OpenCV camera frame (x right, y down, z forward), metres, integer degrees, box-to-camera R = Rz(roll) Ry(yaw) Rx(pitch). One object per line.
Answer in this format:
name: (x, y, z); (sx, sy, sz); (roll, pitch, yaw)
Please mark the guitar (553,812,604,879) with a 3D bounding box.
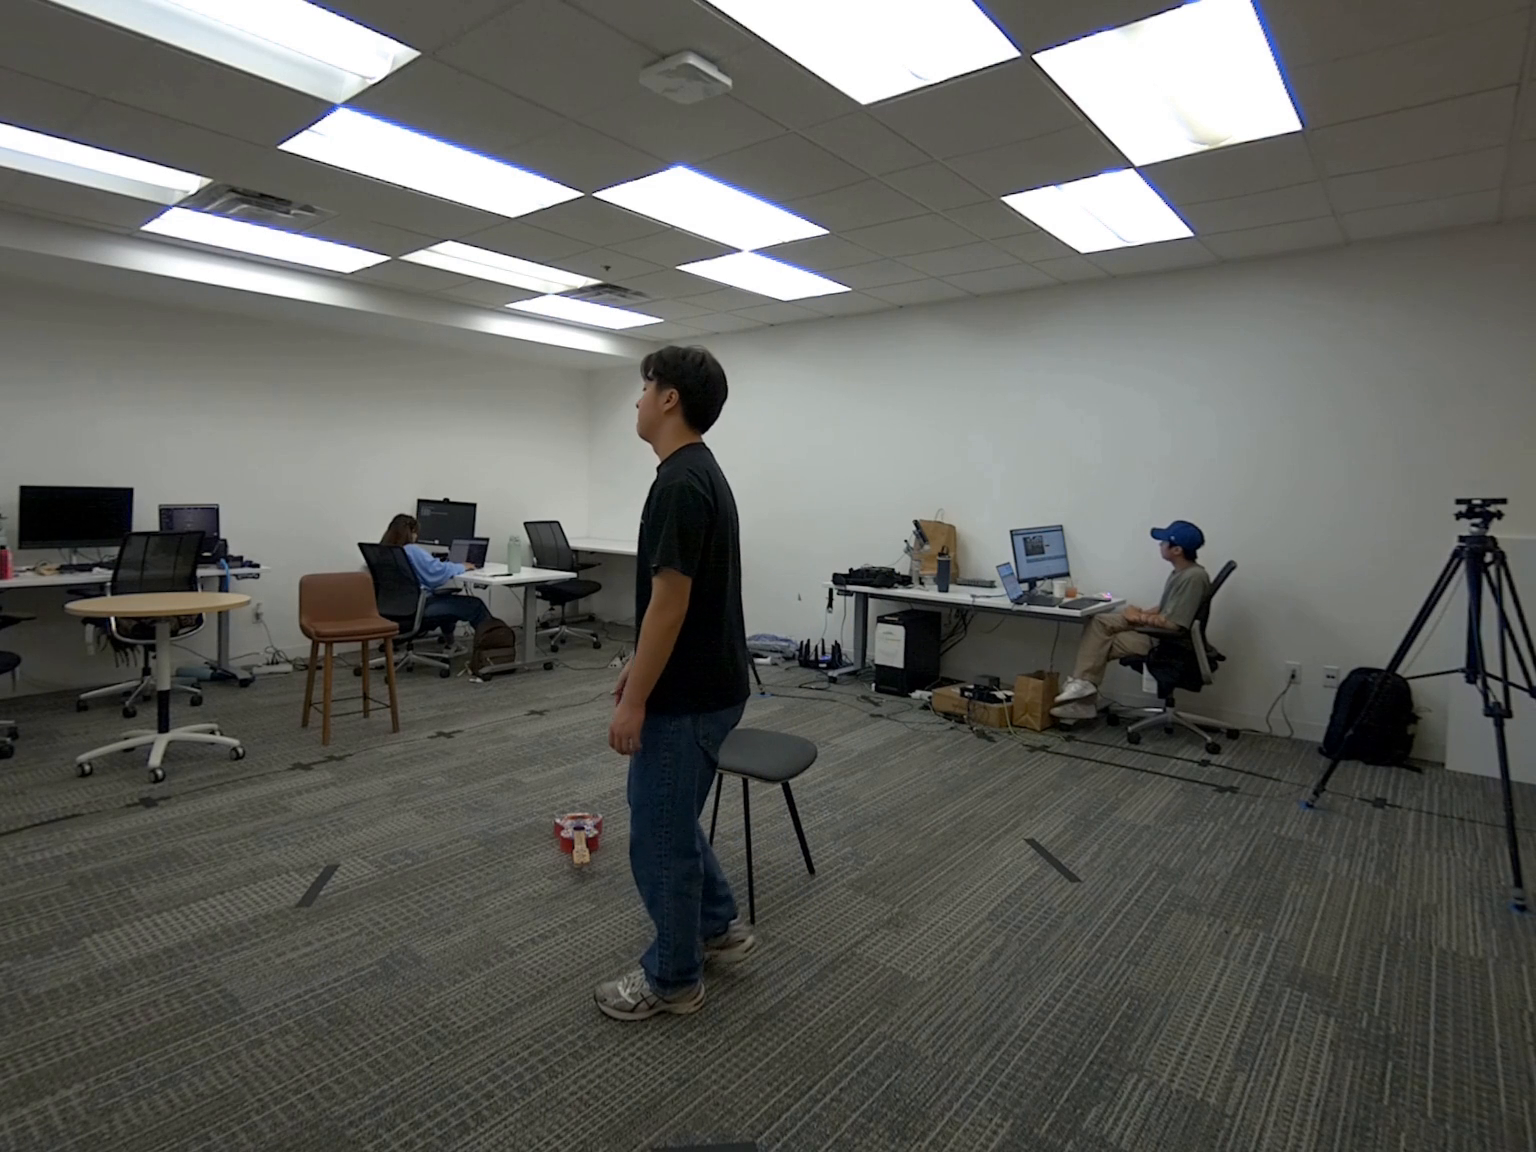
guitar: (-0.757, 1.012, 3.240); (0.192, 0.070, 0.501); (1, 5, -5)
